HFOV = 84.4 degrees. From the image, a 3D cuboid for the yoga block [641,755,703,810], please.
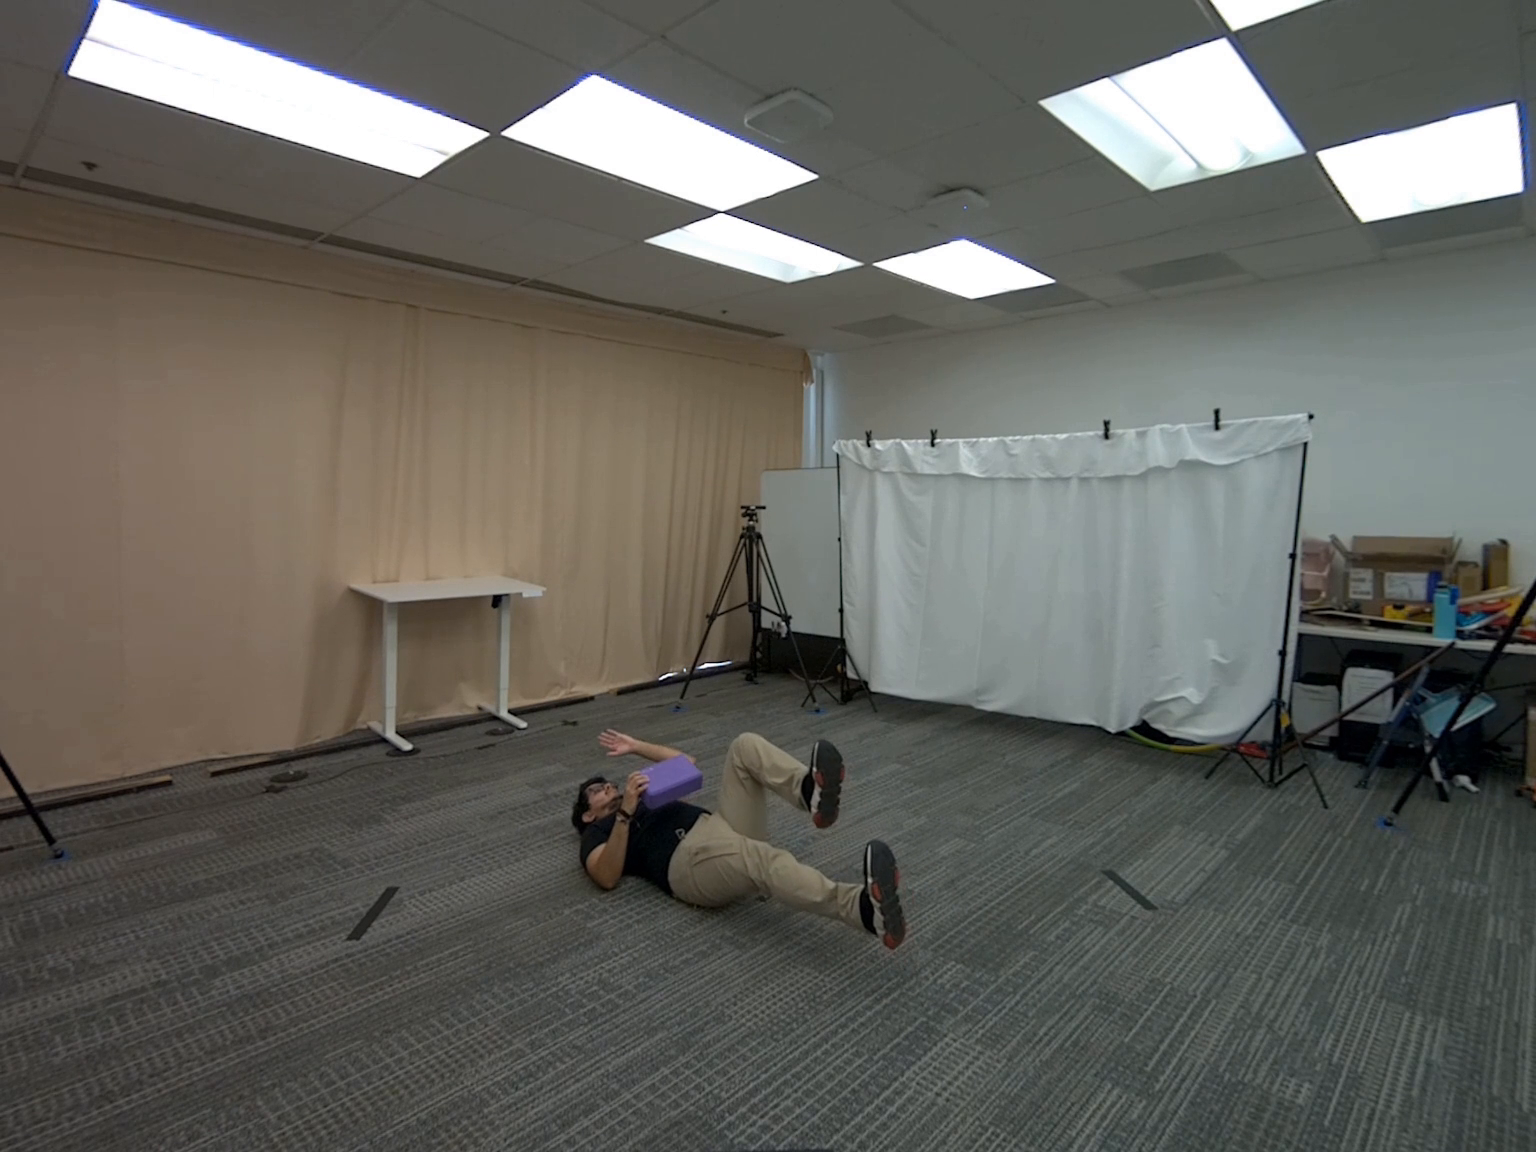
[{"bbox_3d":[-0.367,0.763,3.083,0.224,0.075,0.154,-9,27,-25],"label":"yoga block"}]
